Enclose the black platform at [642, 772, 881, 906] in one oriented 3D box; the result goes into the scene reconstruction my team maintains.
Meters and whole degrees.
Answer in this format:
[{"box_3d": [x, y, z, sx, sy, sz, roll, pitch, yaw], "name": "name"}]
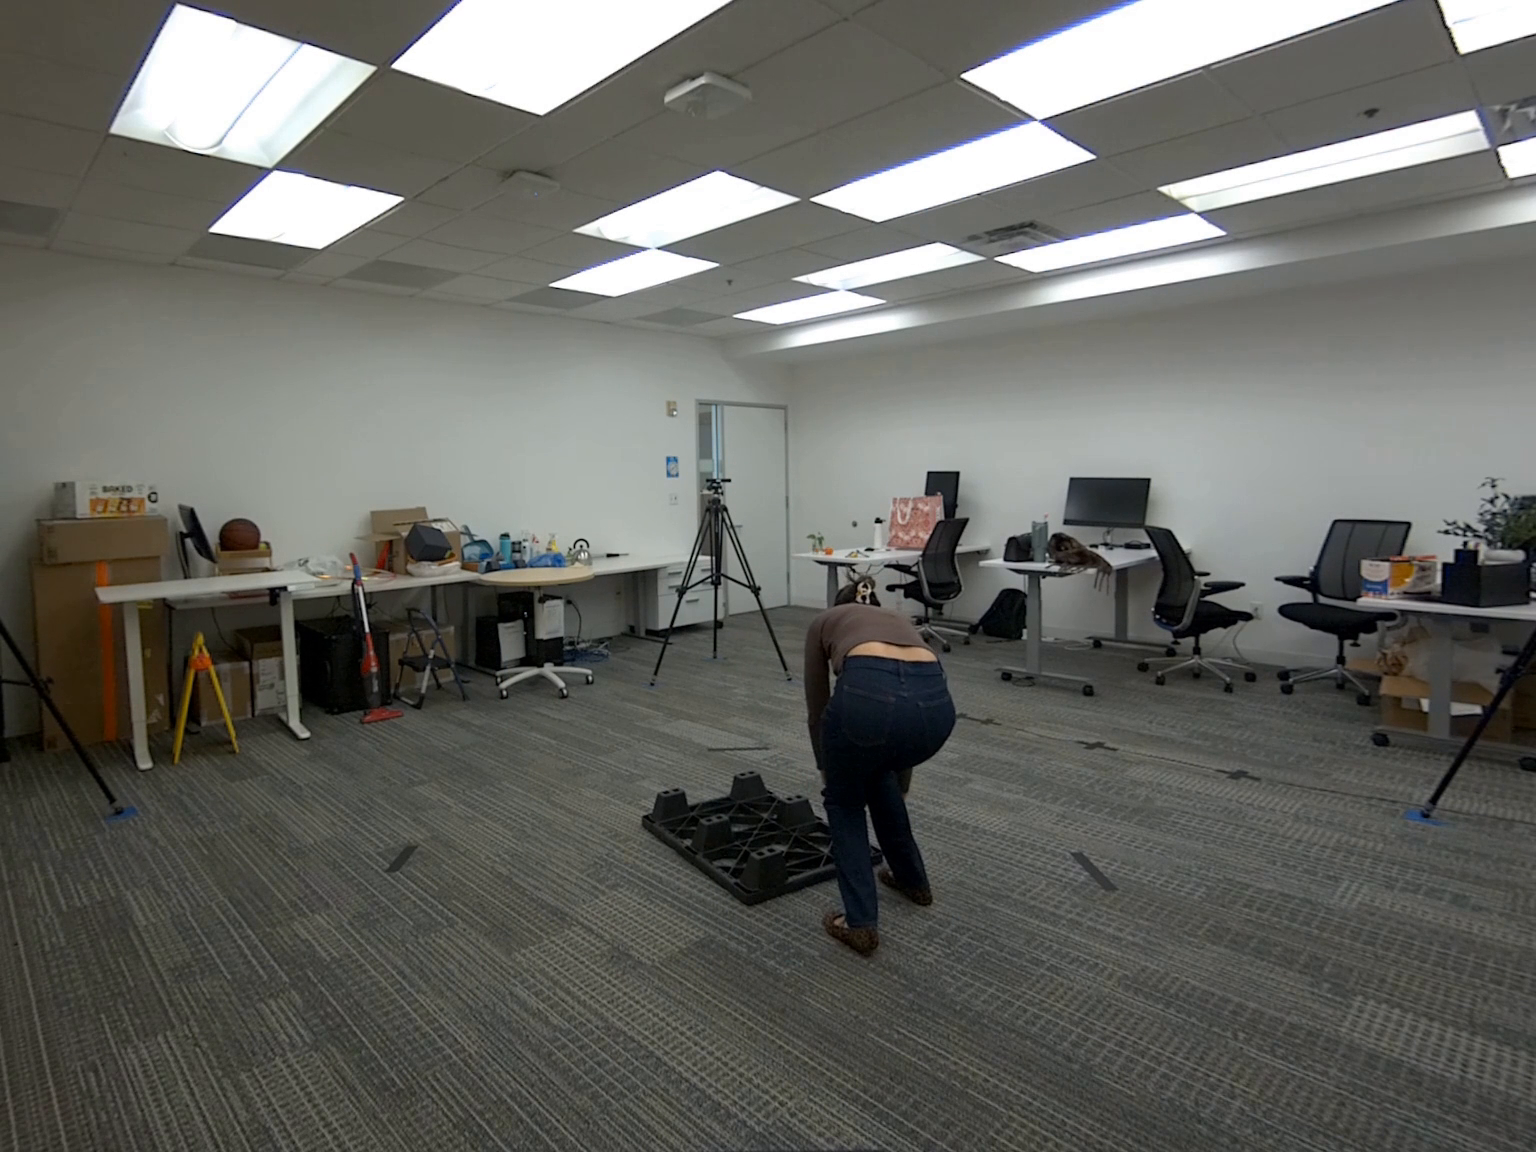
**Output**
[{"box_3d": [-0.052, 0.957, 3.280, 0.590, 0.143, 0.829, -4, 7, -34], "name": "black platform"}]
